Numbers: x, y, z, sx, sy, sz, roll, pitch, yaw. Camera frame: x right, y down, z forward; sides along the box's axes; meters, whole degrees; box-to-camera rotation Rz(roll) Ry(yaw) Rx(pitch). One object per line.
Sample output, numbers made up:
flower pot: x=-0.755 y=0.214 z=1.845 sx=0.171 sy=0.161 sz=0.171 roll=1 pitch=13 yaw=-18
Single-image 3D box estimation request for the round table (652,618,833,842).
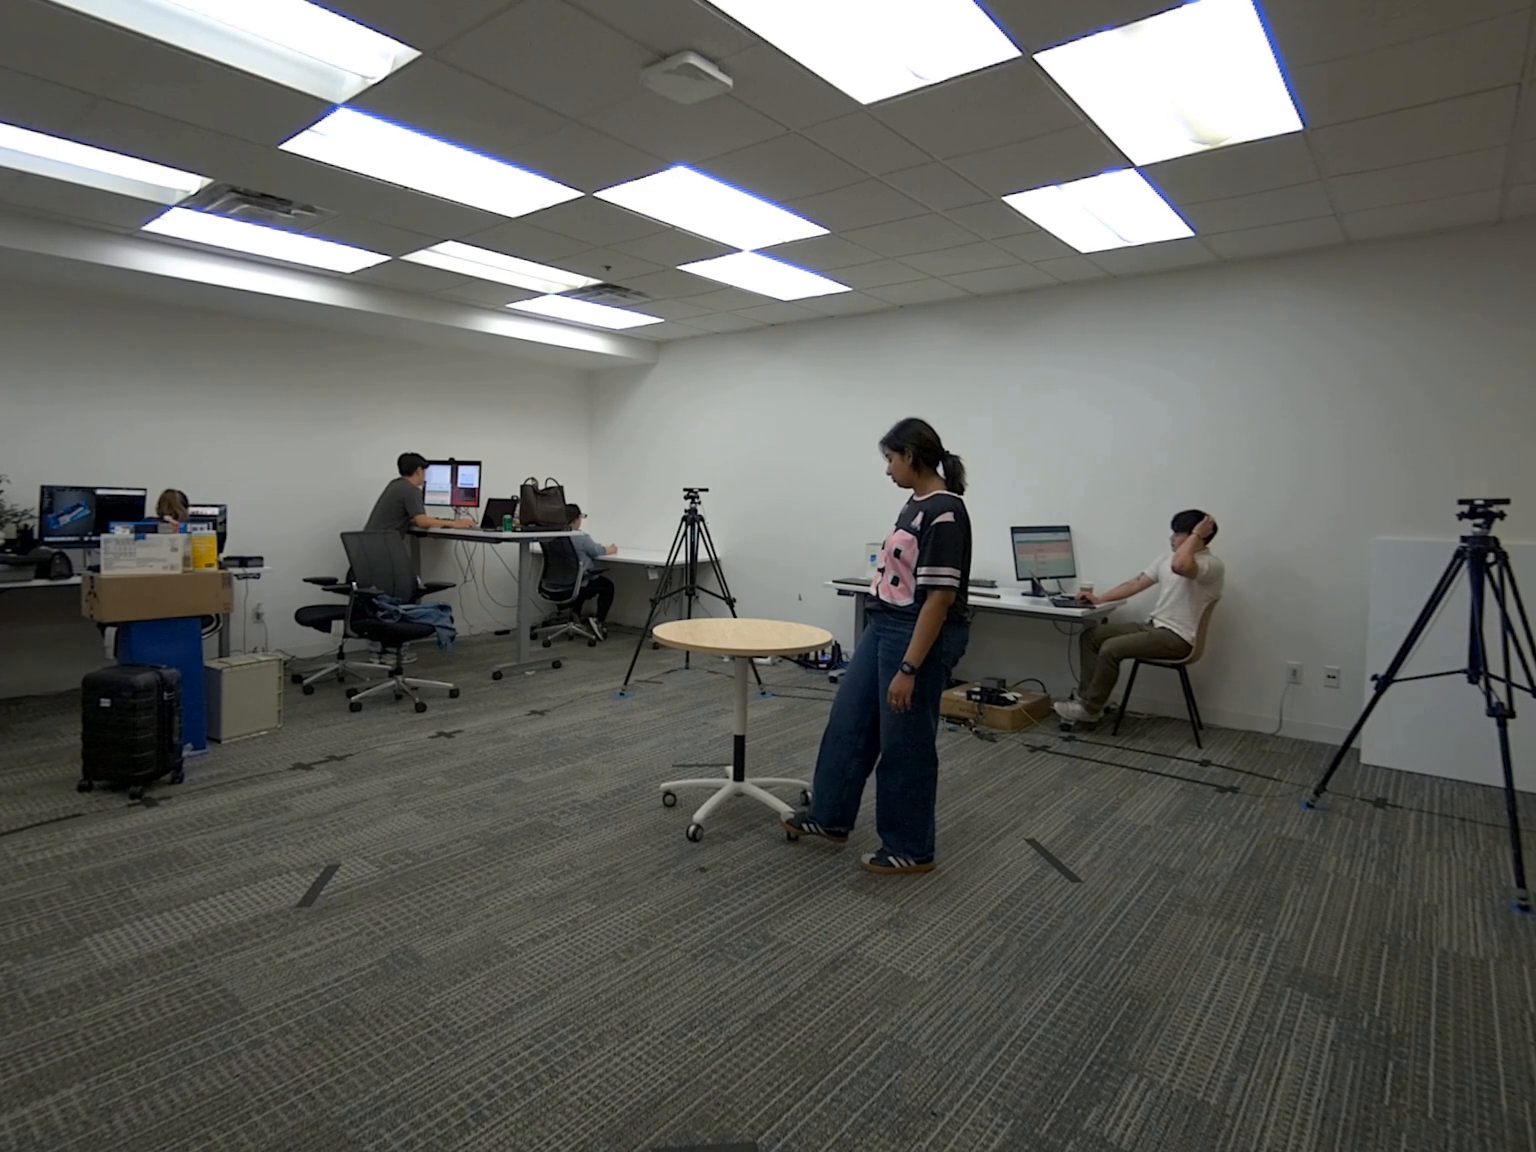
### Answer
round table: x=-0.134 y=0.630 z=3.654 sx=0.763 sy=0.791 sz=0.768 roll=1 pitch=4 yaw=-2
